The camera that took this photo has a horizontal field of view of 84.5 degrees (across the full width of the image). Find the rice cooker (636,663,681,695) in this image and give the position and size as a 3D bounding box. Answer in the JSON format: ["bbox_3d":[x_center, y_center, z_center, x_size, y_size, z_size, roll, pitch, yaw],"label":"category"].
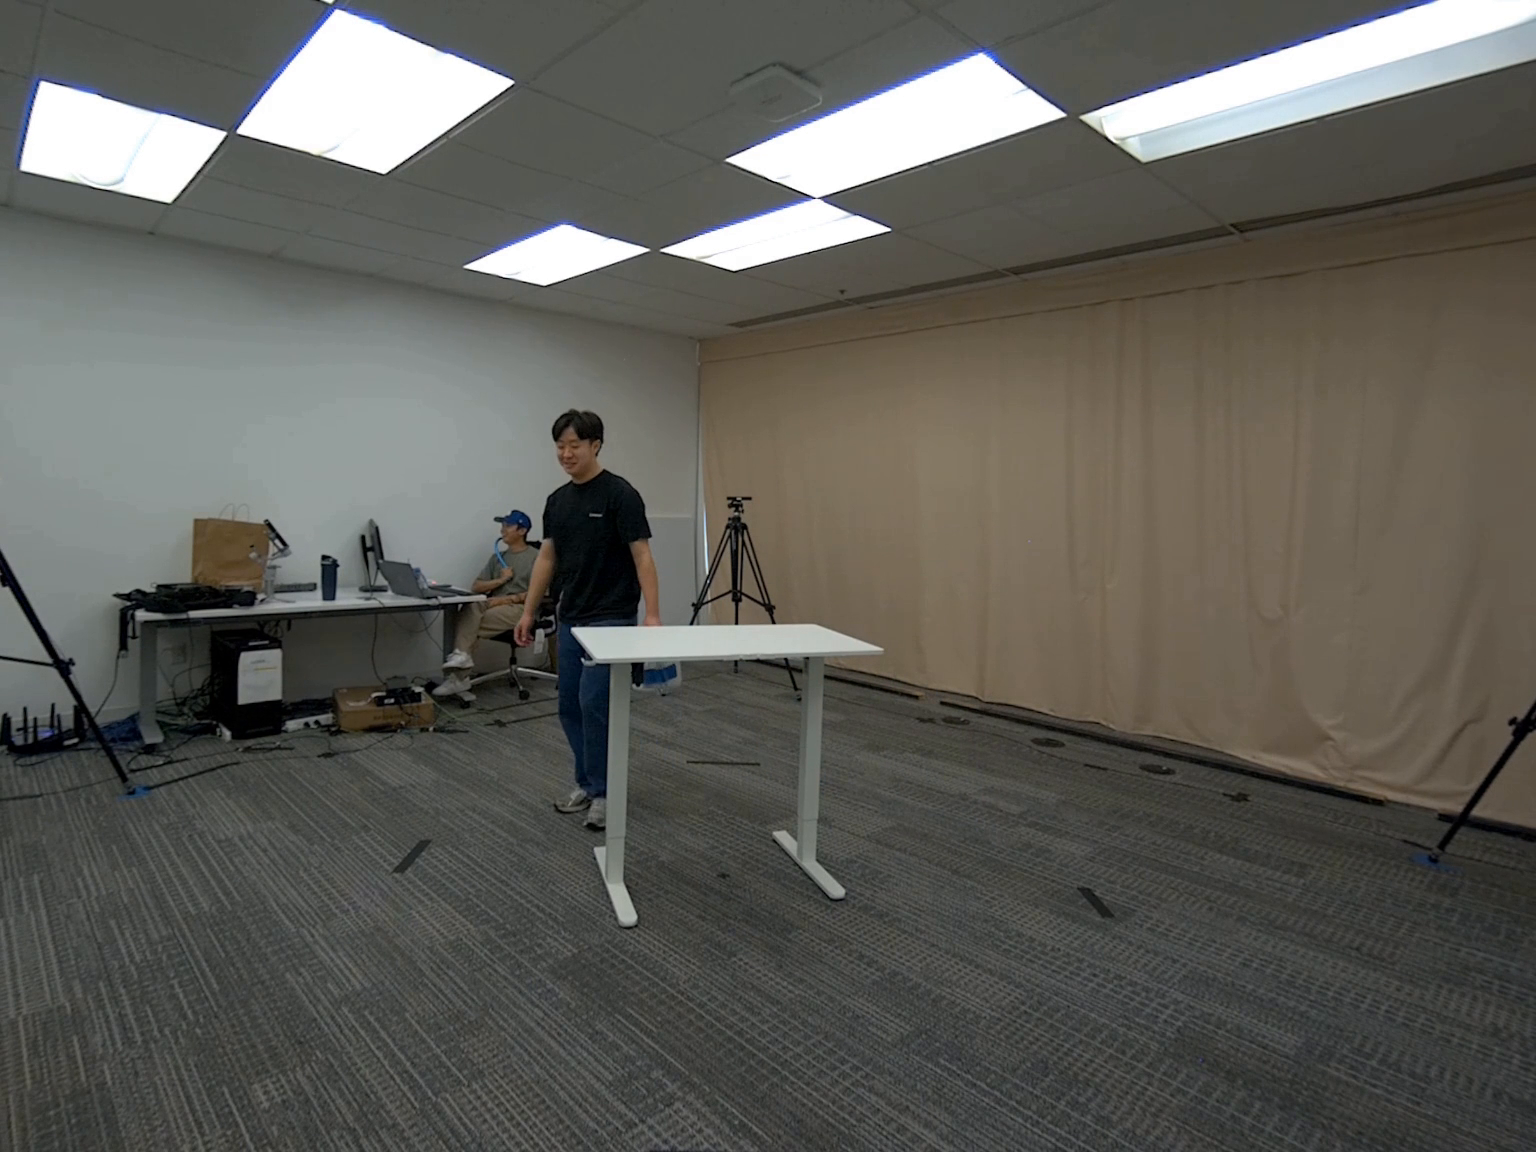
[{"bbox_3d":[-0.485,0.368,3.506,0.222,0.232,0.217,-1,3,29],"label":"rice cooker"}]
